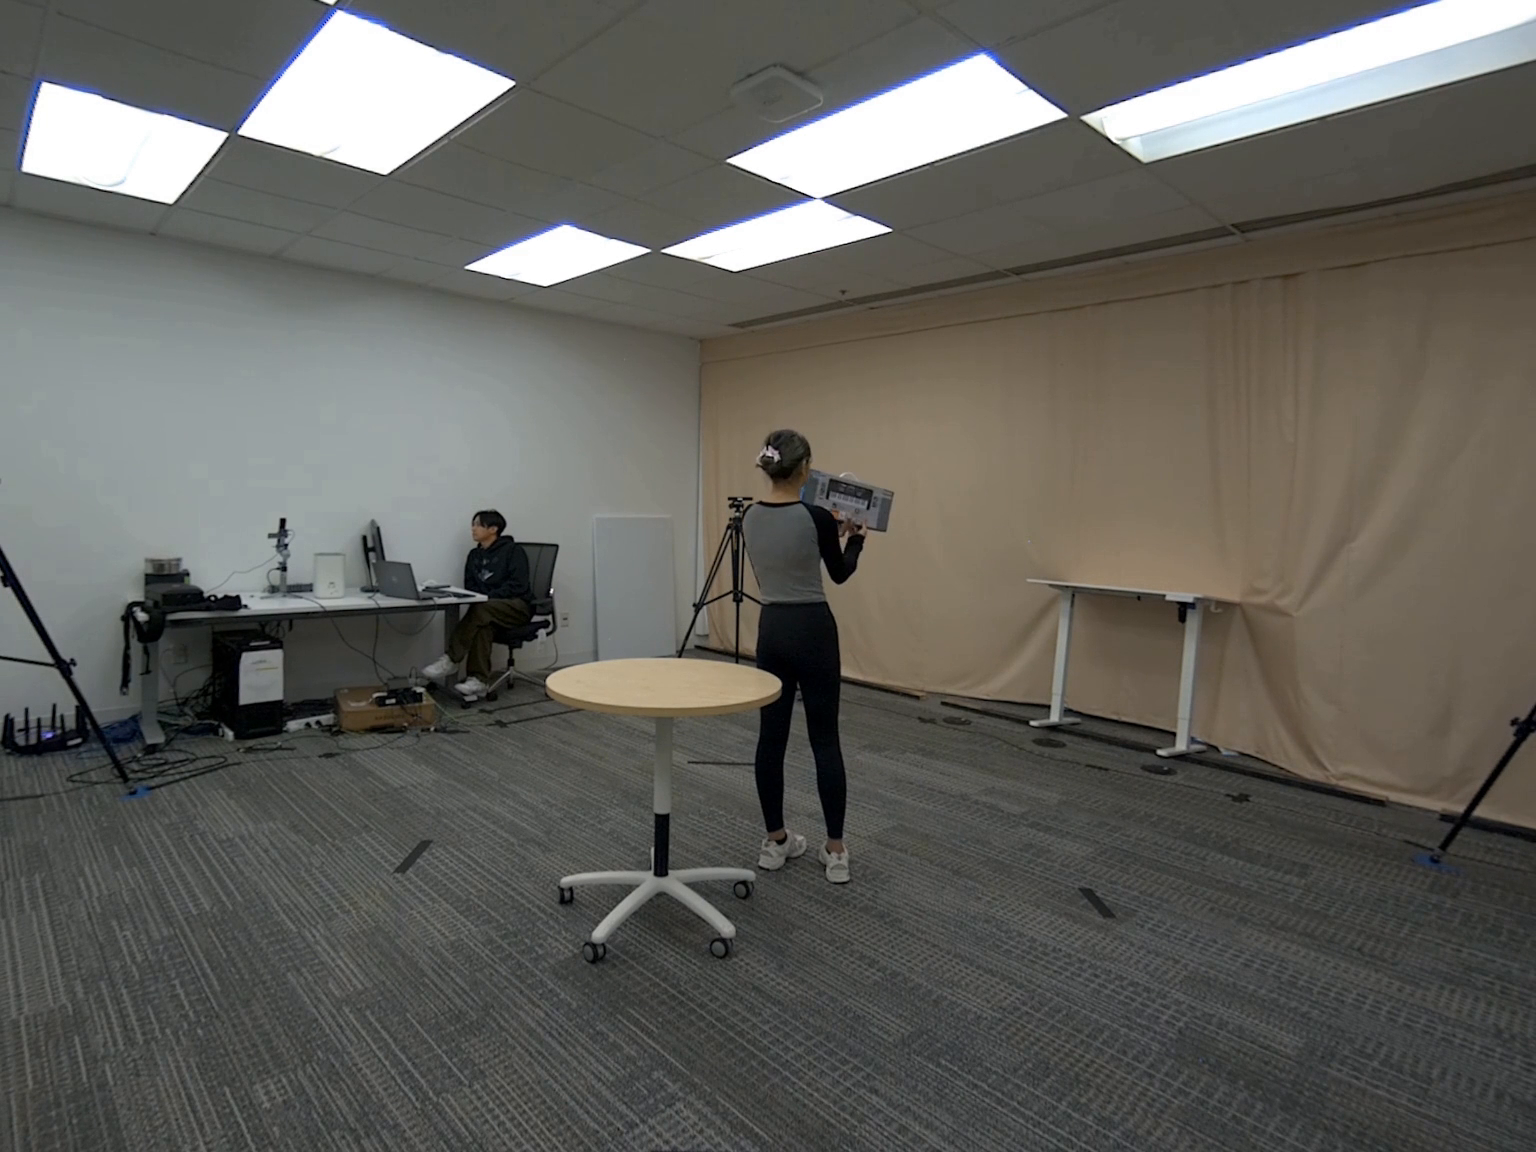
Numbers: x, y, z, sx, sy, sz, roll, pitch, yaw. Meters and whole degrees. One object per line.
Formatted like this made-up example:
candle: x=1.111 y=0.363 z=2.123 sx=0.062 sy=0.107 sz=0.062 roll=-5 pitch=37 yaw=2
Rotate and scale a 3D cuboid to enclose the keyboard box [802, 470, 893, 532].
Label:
keyboard box: x=0.313 y=-0.305 z=3.447 sx=0.427 sy=0.176 sz=0.060 roll=12 pitch=-1 yaw=-29
